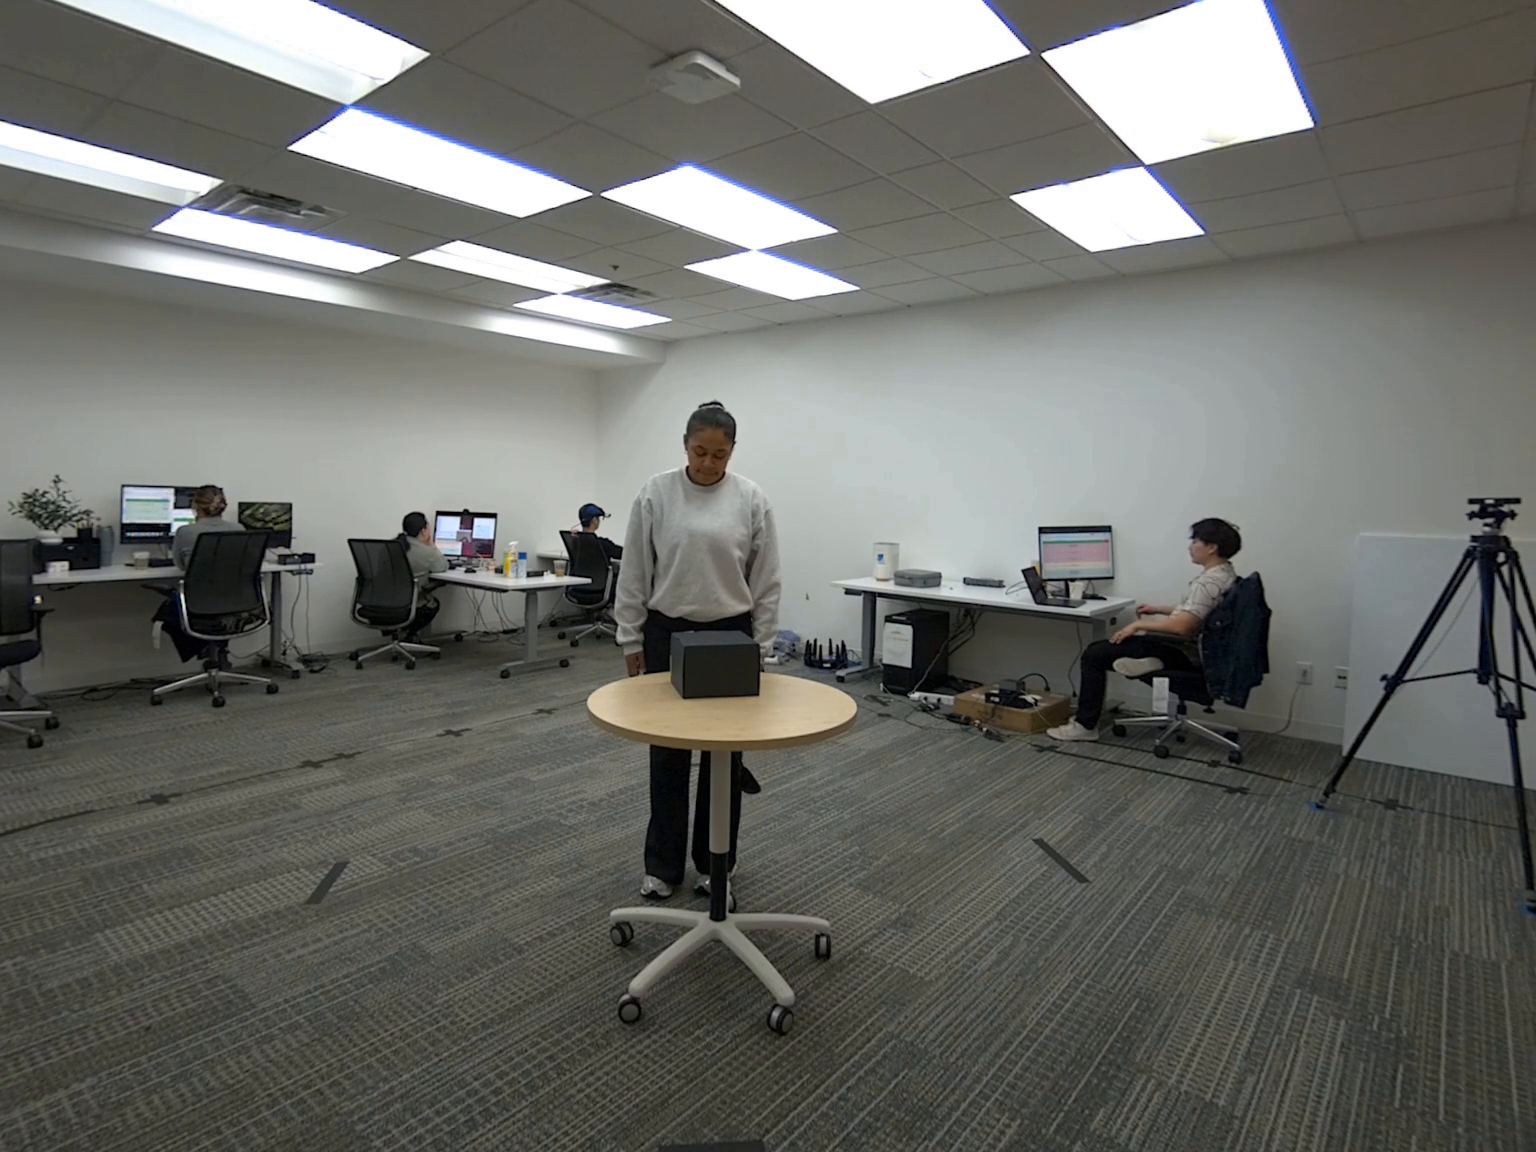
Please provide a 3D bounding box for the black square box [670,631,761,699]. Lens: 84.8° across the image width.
[{"bbox_3d":[-0.174,0.257,2.554,0.224,0.155,0.221,-1,5,-15],"label":"black square box"}]
